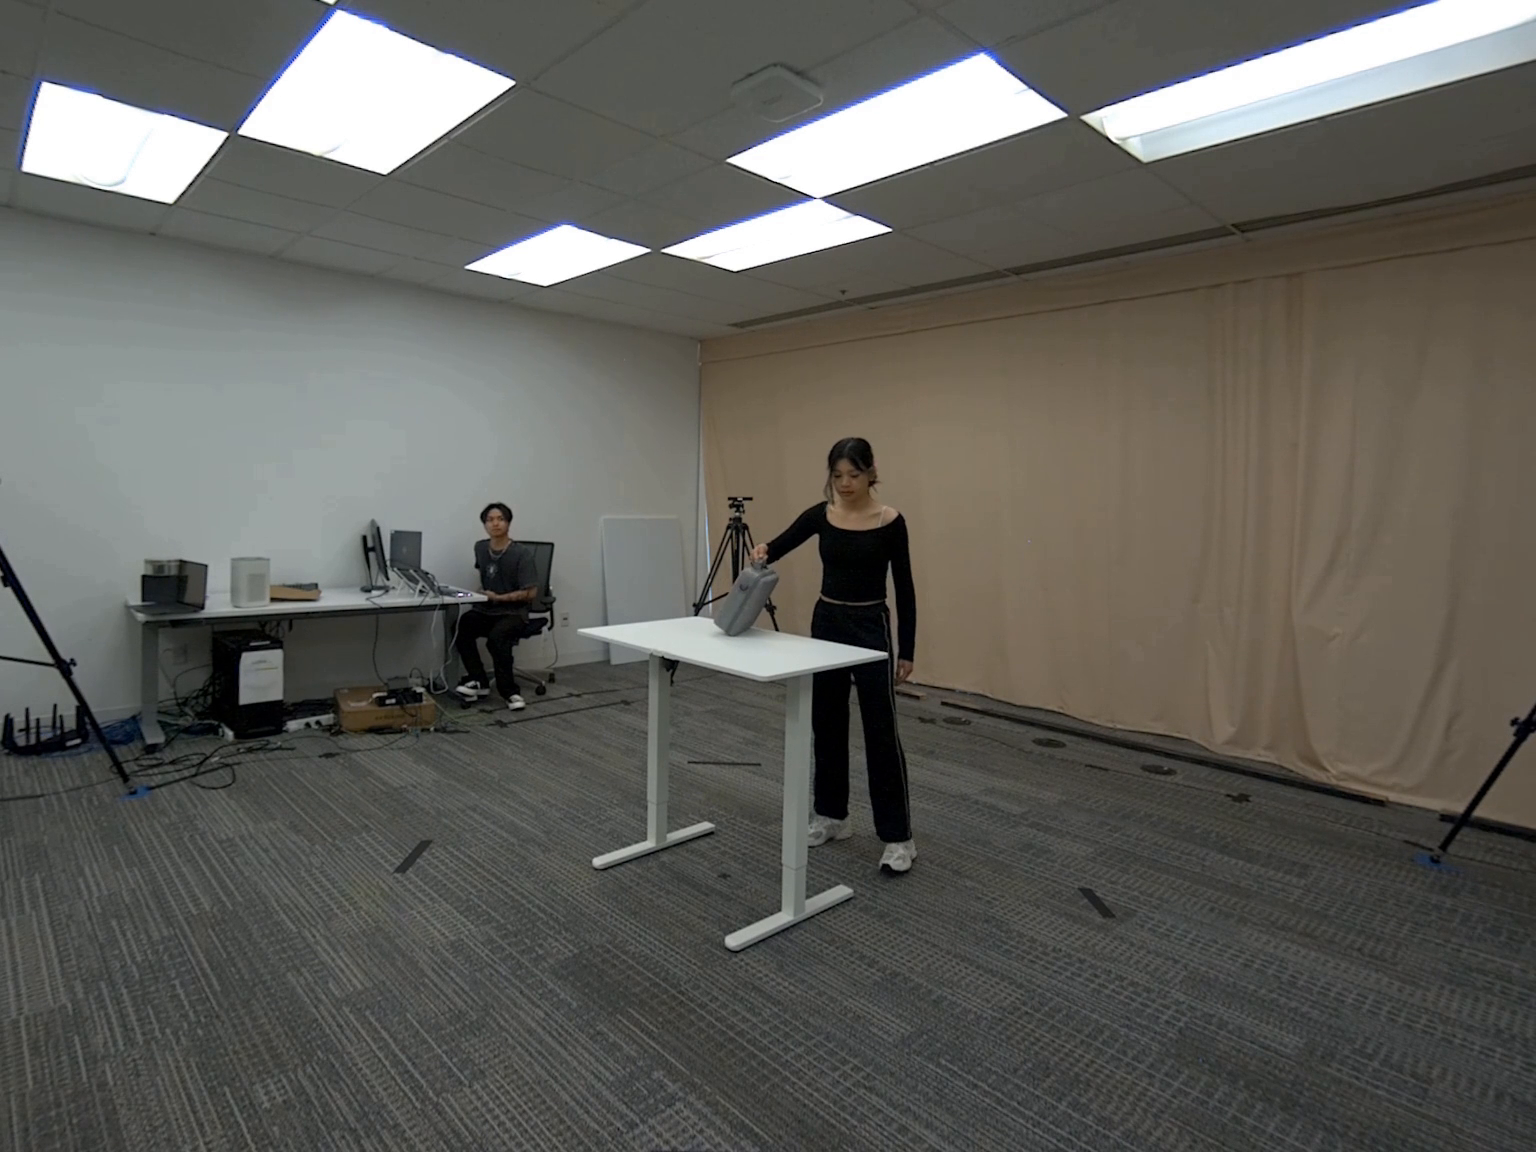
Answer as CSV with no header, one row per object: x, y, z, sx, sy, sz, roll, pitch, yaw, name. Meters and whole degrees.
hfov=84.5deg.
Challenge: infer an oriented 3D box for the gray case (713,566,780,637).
-0.085,0.088,3.180,0.106,0.260,0.254,28,11,12,gray case
